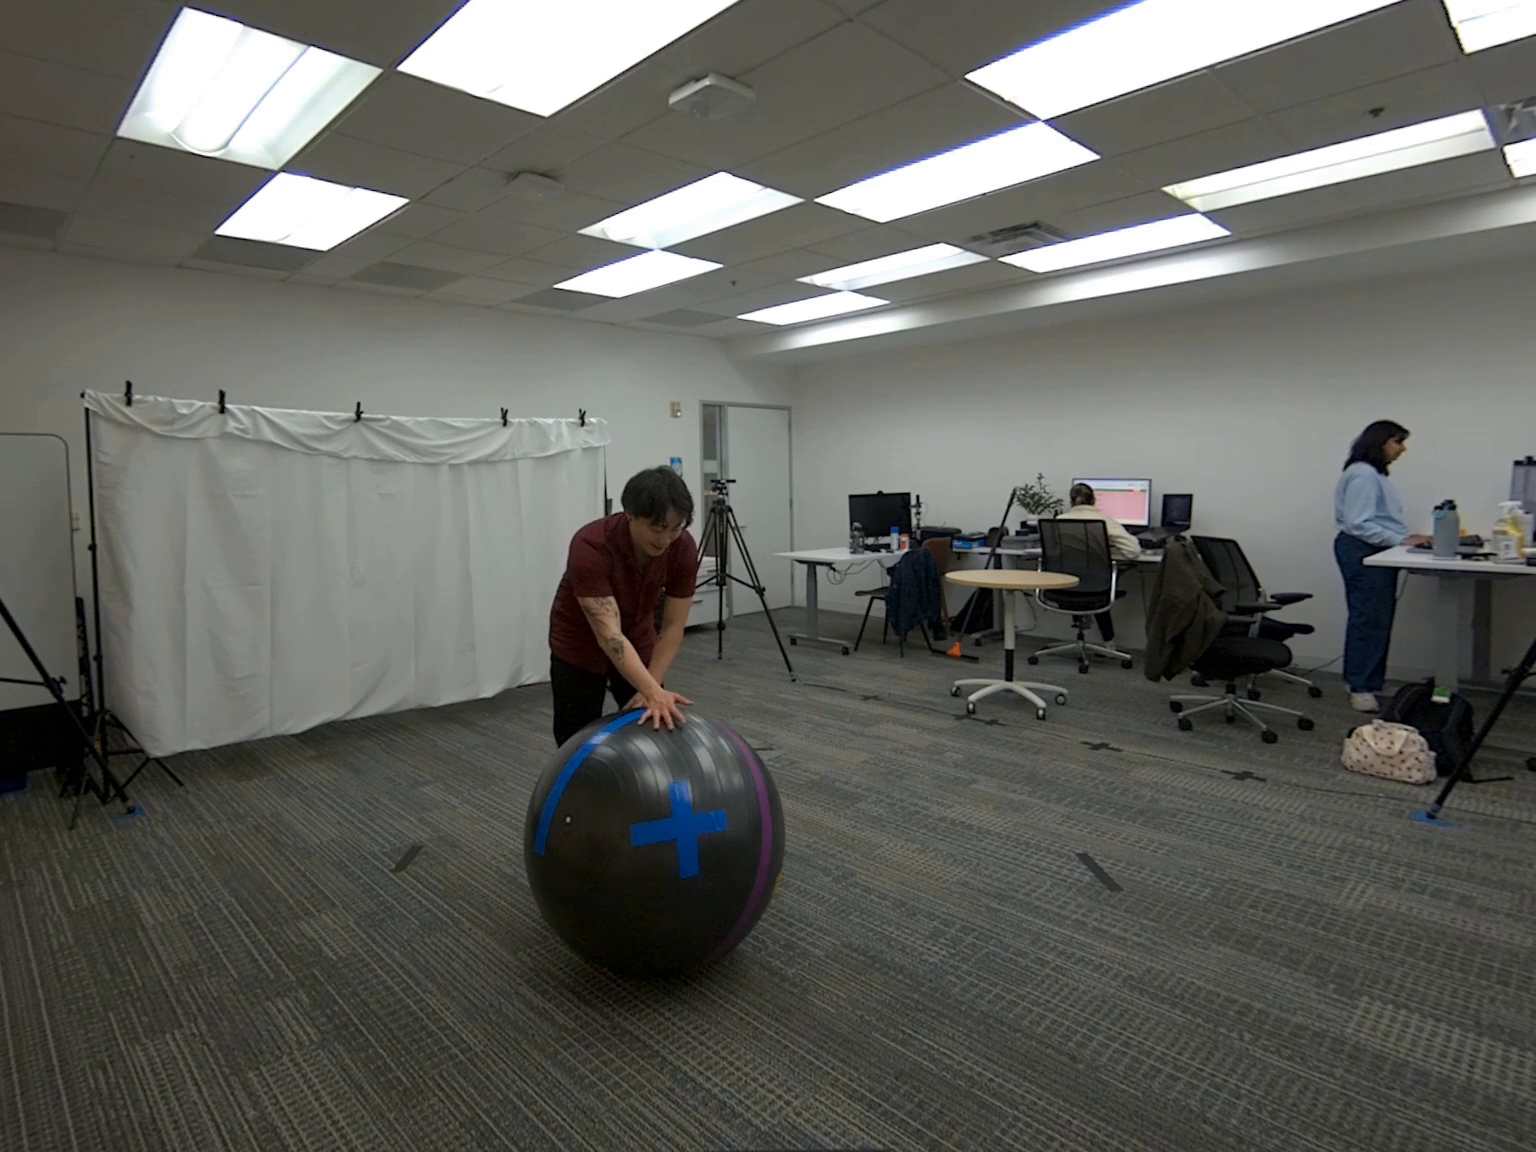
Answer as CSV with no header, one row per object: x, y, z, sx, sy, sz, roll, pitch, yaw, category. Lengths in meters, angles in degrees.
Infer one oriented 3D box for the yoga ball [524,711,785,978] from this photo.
-0.329,0.767,2.502,0.757,0.755,0.762,-1,5,-2,yoga ball
